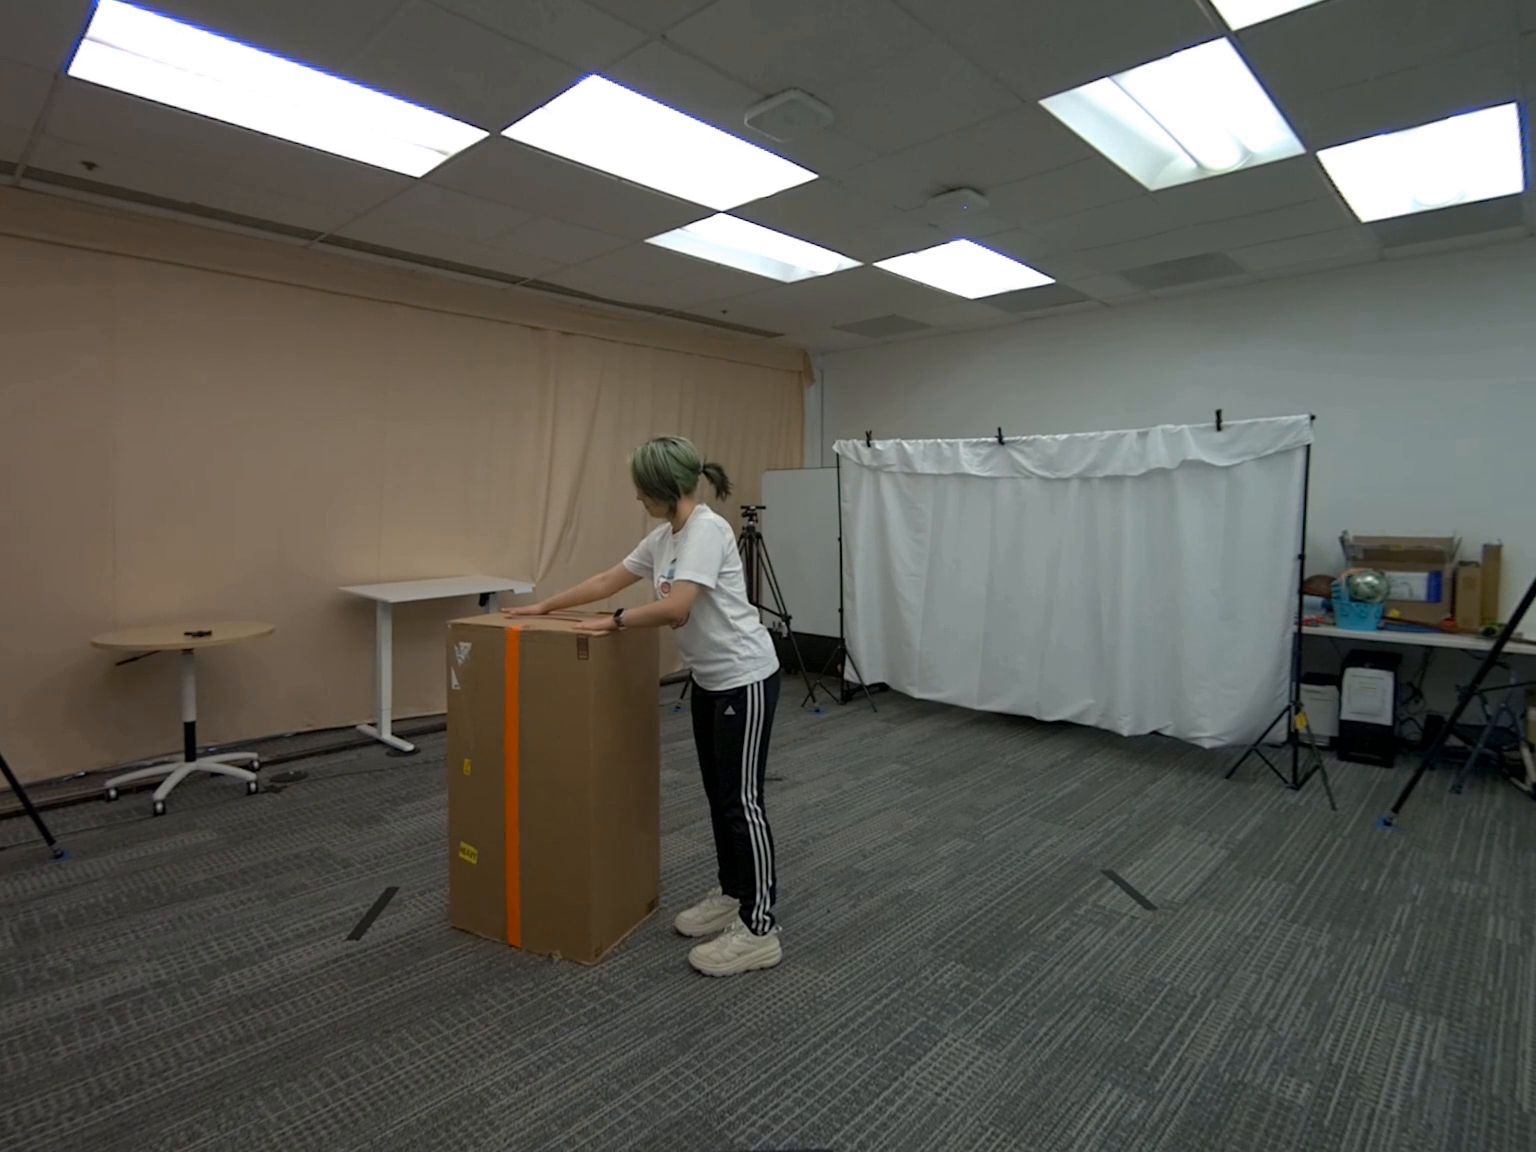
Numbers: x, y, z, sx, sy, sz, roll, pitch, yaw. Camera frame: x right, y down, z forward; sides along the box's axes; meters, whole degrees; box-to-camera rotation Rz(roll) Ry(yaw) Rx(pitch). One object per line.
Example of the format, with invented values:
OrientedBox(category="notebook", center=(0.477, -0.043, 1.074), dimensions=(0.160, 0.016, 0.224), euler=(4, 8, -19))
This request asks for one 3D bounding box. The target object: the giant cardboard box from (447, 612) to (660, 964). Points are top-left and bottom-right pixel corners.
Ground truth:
OrientedBox(category="giant cardboard box", center=(-0.717, 0.659, 2.835), dimensions=(0.599, 1.026, 0.436), euler=(1, 2, 25))
